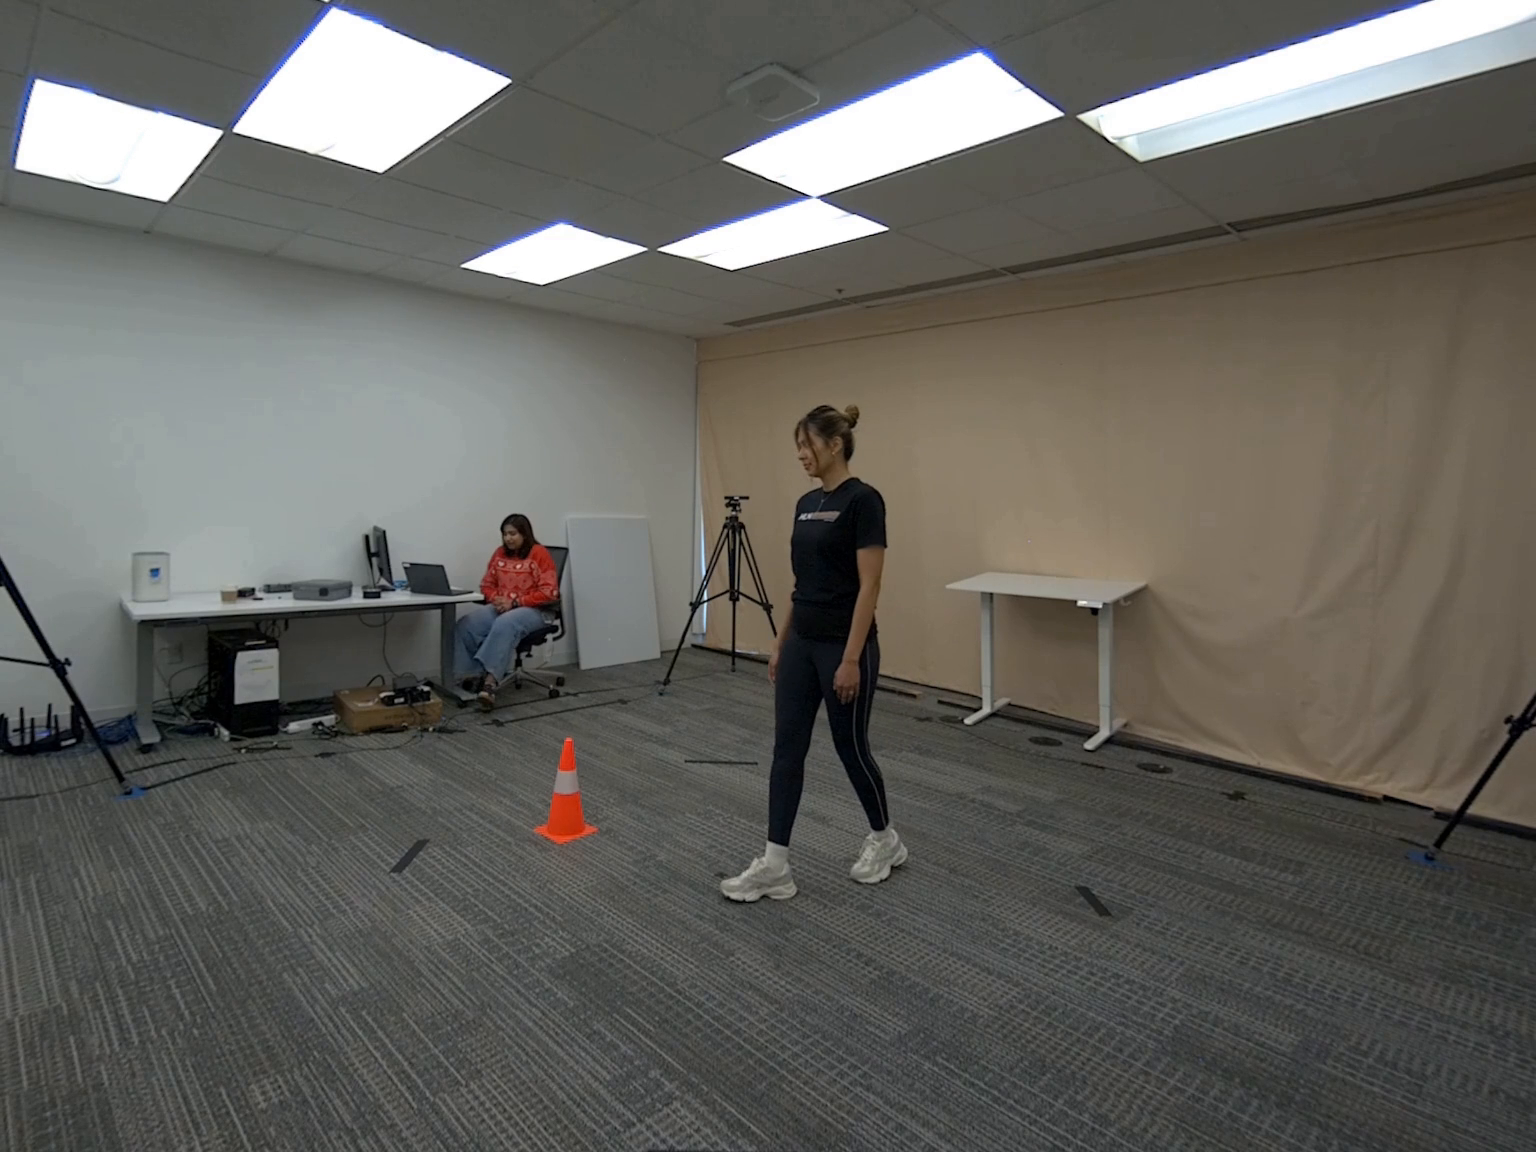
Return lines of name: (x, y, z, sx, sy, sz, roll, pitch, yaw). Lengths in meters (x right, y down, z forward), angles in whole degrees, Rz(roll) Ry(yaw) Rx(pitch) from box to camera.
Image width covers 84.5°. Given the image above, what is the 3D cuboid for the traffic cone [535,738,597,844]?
traffic cone: (-0.843, 0.869, 3.478, 0.199, 0.382, 0.210, -2, 5, -41)
